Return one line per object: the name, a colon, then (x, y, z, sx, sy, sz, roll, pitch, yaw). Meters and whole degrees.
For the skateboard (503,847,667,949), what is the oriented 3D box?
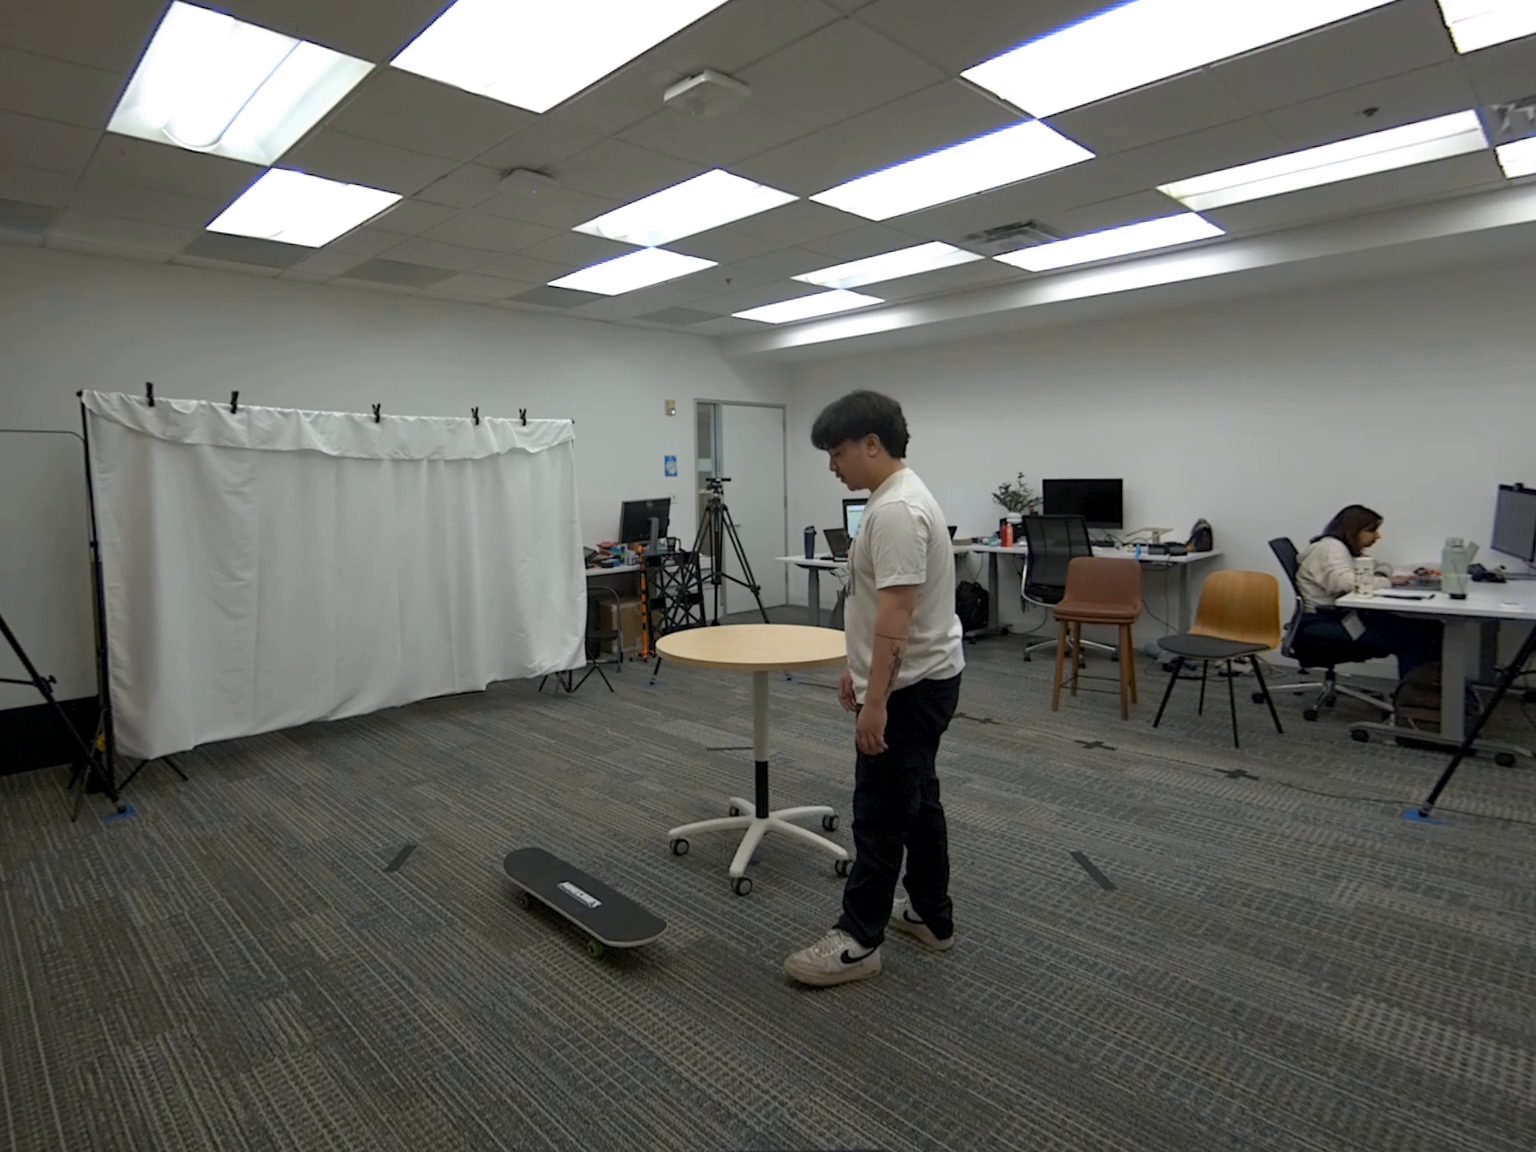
skateboard: (-0.593, 1.048, 2.702, 0.188, 0.110, 0.810, -7, 9, -44)
